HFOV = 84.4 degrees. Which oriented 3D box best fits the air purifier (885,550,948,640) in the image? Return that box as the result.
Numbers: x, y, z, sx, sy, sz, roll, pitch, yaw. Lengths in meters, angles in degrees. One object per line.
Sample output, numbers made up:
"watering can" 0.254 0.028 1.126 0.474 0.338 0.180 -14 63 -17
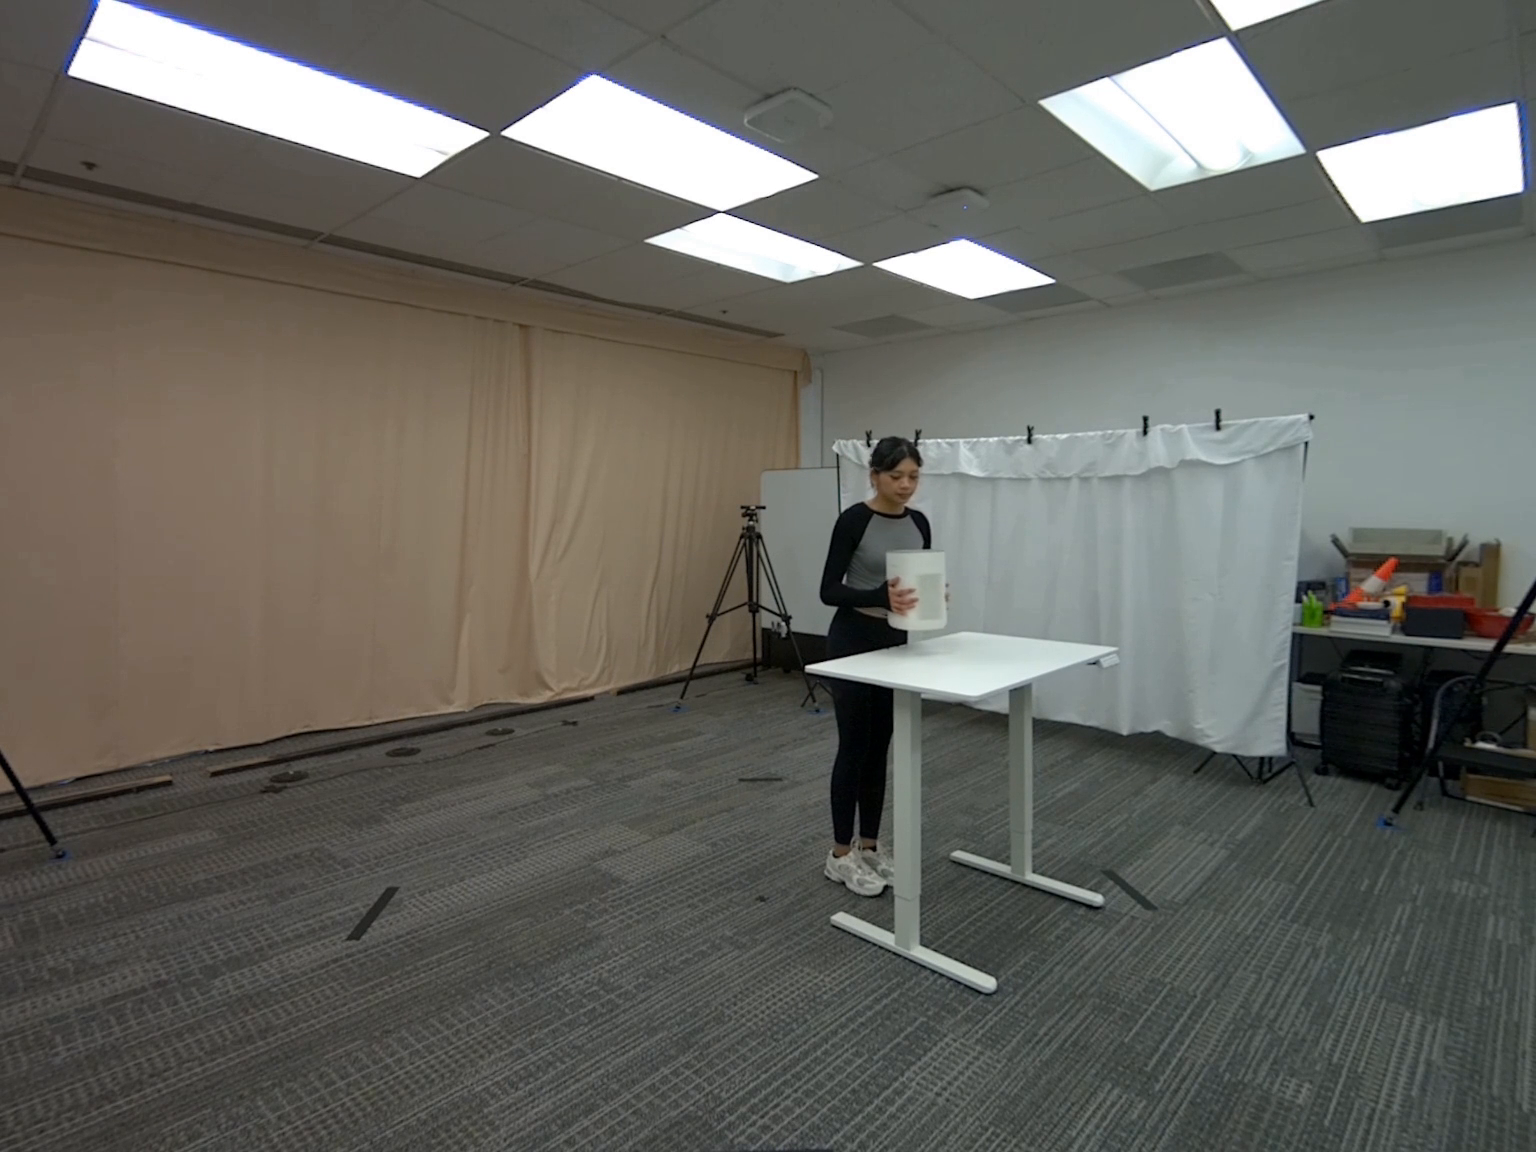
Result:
"air purifier" 0.514 0.048 2.868 0.168 0.265 0.174 -2 1 -20
